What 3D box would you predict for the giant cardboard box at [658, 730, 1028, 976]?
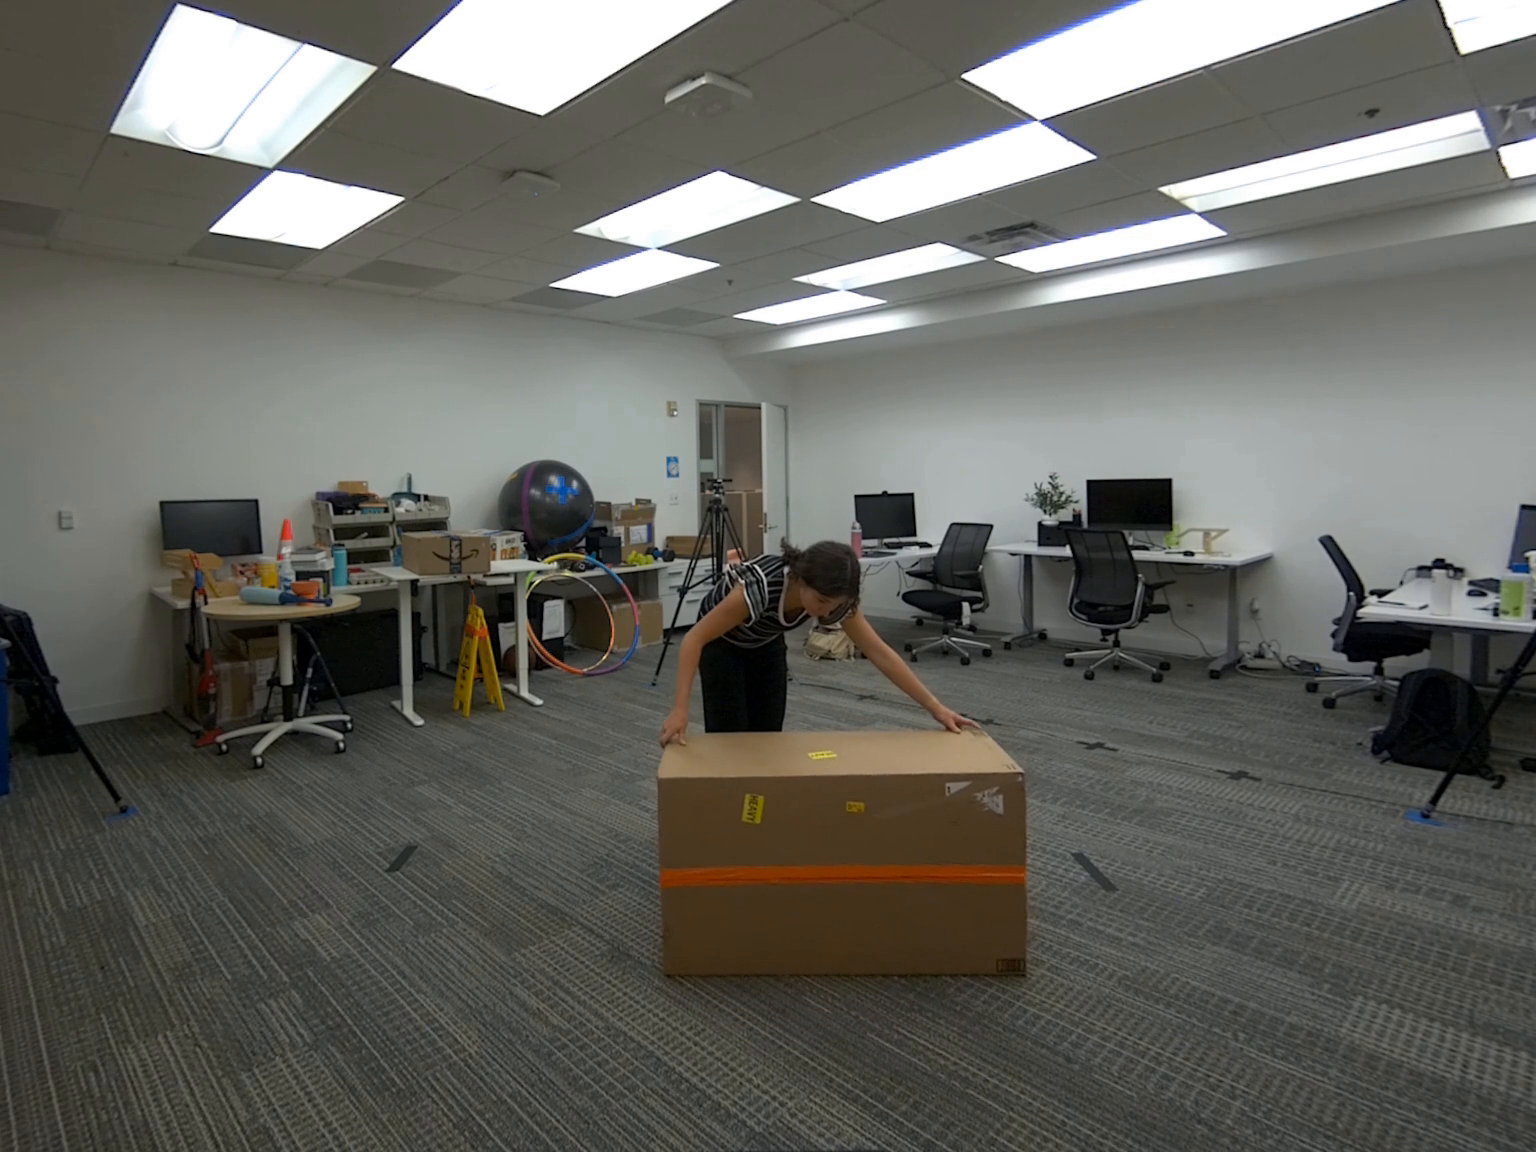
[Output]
[{"bbox_3d":[0.205,0.810,2.571,1.027,0.575,0.427,-2,4,1],"label":"giant cardboard box"}]
